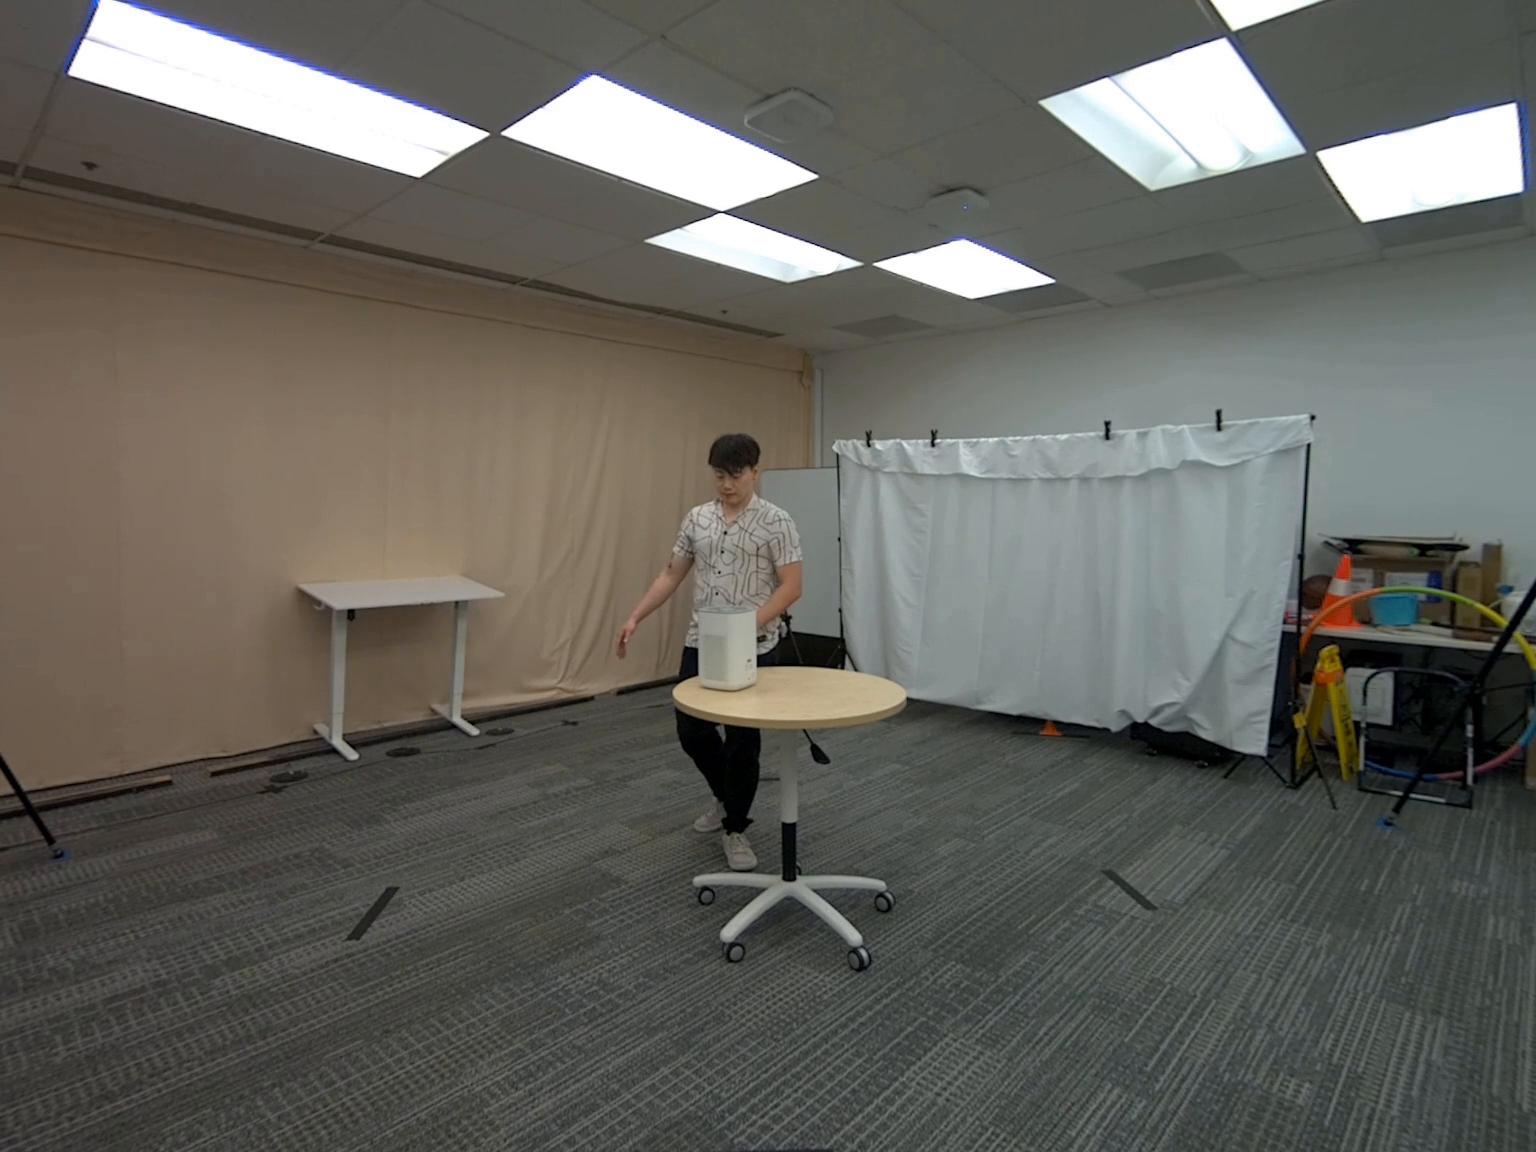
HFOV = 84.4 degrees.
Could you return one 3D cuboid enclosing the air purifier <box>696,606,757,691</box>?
[{"bbox_3d":[-0.133,0.239,2.852,0.176,0.265,0.167,2,5,29],"label":"air purifier"}]
